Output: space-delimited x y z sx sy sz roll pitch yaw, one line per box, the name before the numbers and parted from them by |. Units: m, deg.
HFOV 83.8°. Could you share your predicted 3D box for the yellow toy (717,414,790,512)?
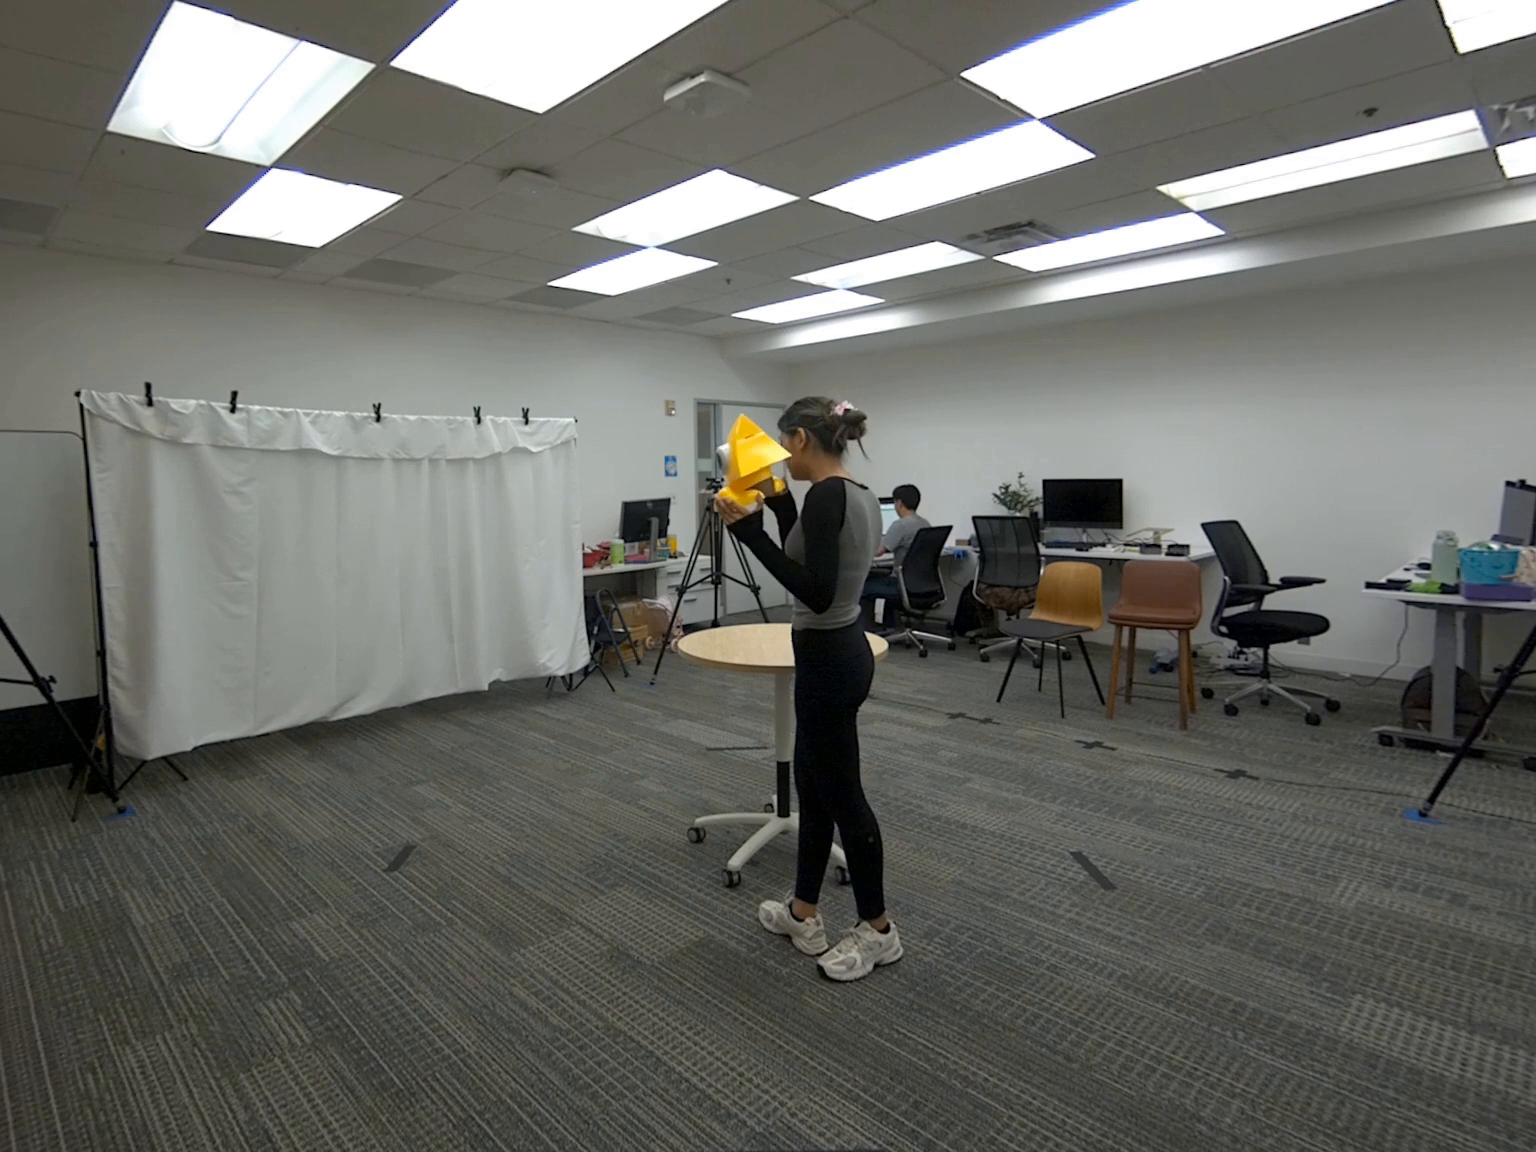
yellow toy | -0.064 -0.319 2.321 0.198 0.228 0.202 -8 14 47
